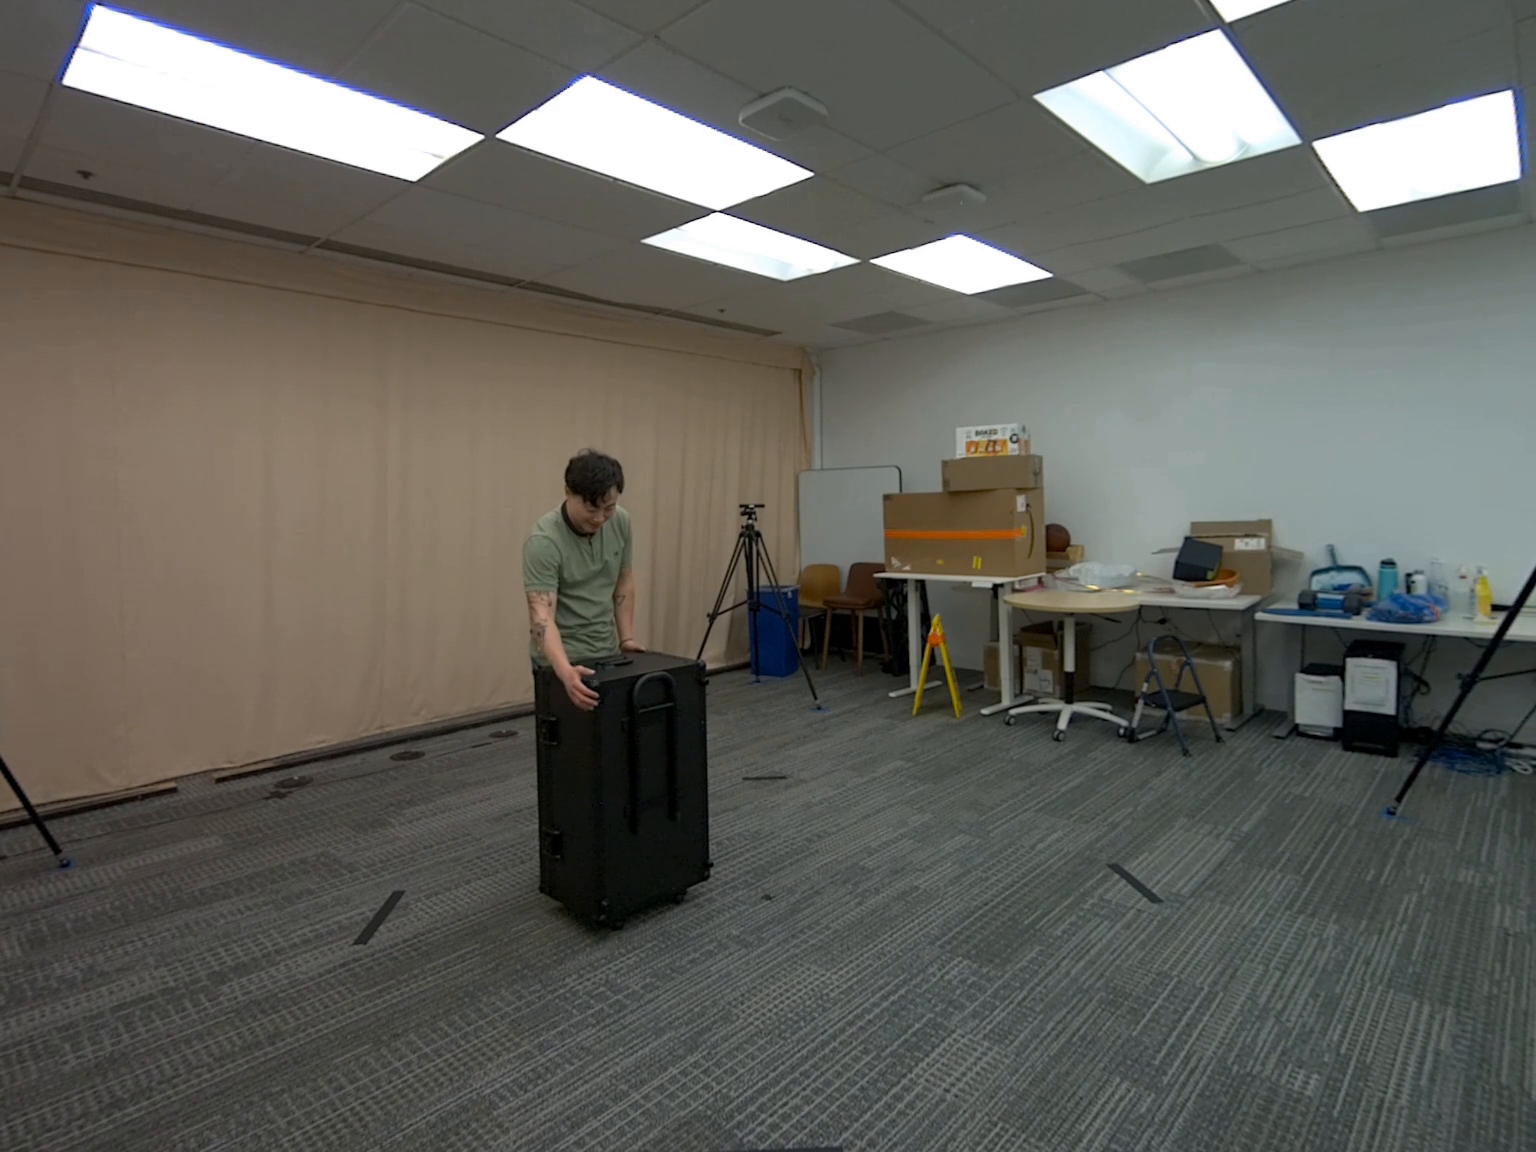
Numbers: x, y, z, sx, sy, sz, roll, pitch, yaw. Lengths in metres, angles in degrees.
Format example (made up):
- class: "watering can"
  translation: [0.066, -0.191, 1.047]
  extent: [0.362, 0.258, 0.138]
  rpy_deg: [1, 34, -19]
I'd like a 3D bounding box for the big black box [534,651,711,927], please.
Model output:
- class: "big black box"
  translation: [-0.488, 0.728, 2.923]
  extent: [0.505, 0.859, 0.409]
  rpy_deg: [-4, 5, -44]
